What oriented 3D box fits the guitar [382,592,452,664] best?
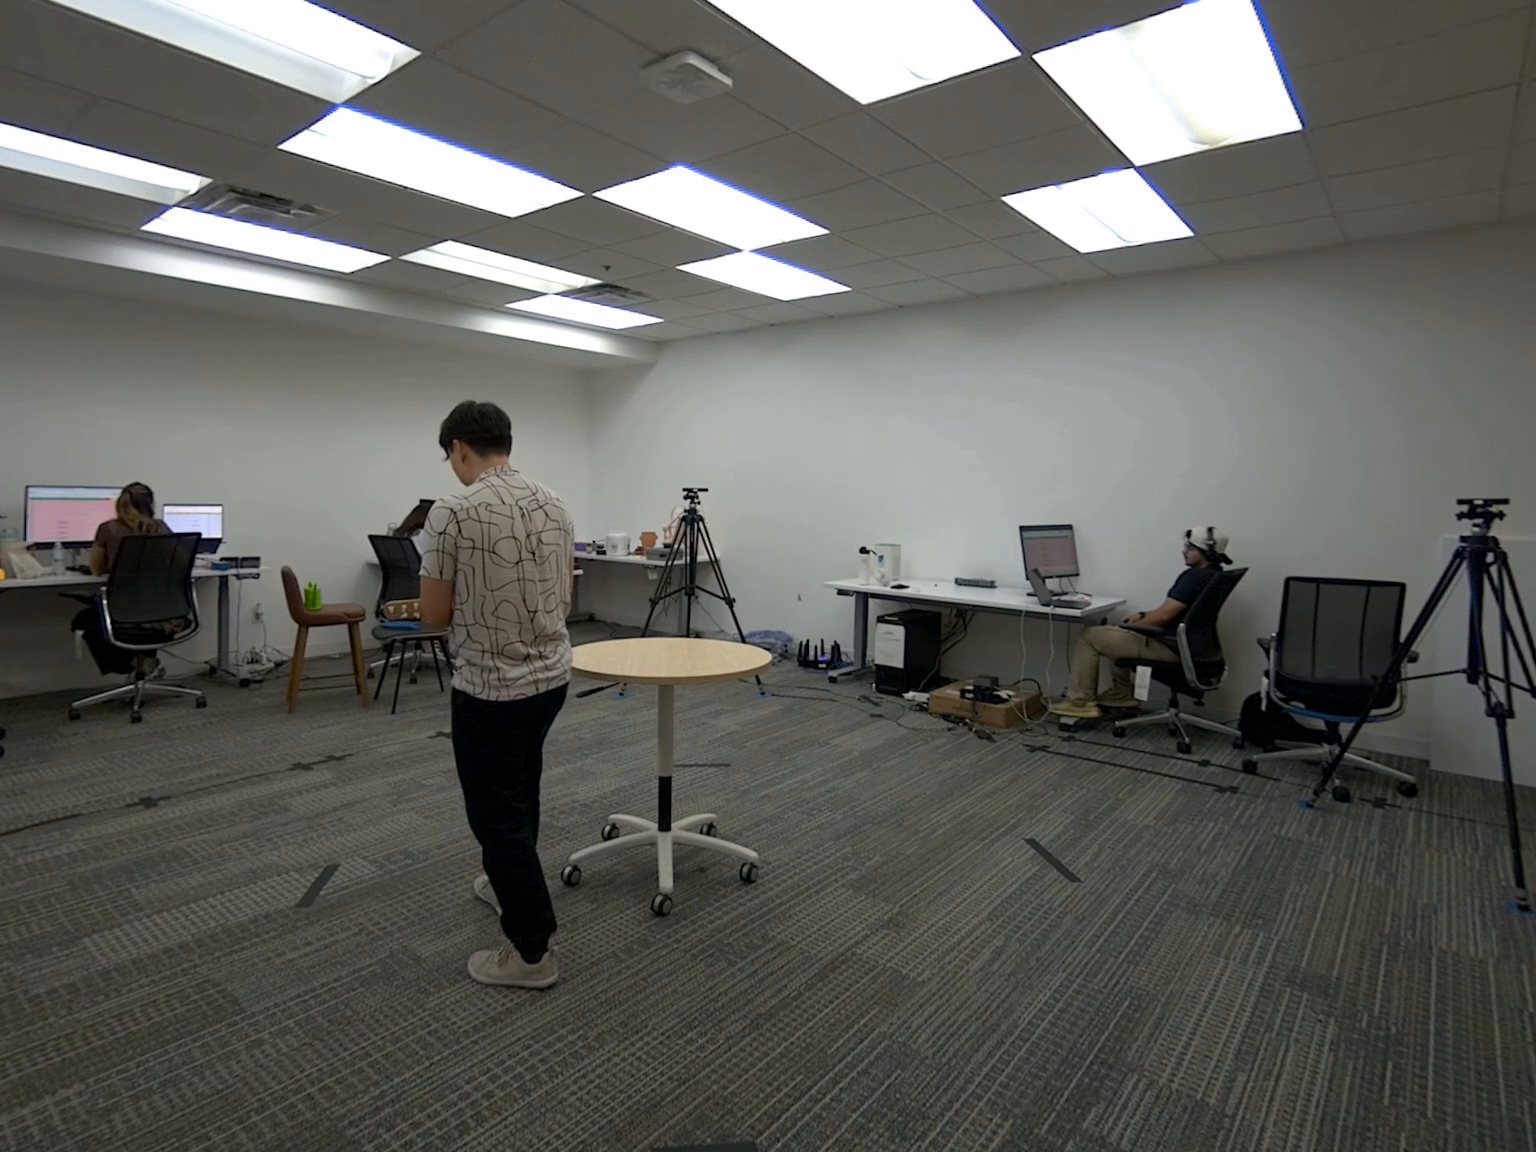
[{"bbox_3d":[-0.934,0.115,2.660,0.496,0.189,0.072,-14,18,-4],"label":"guitar"}]
